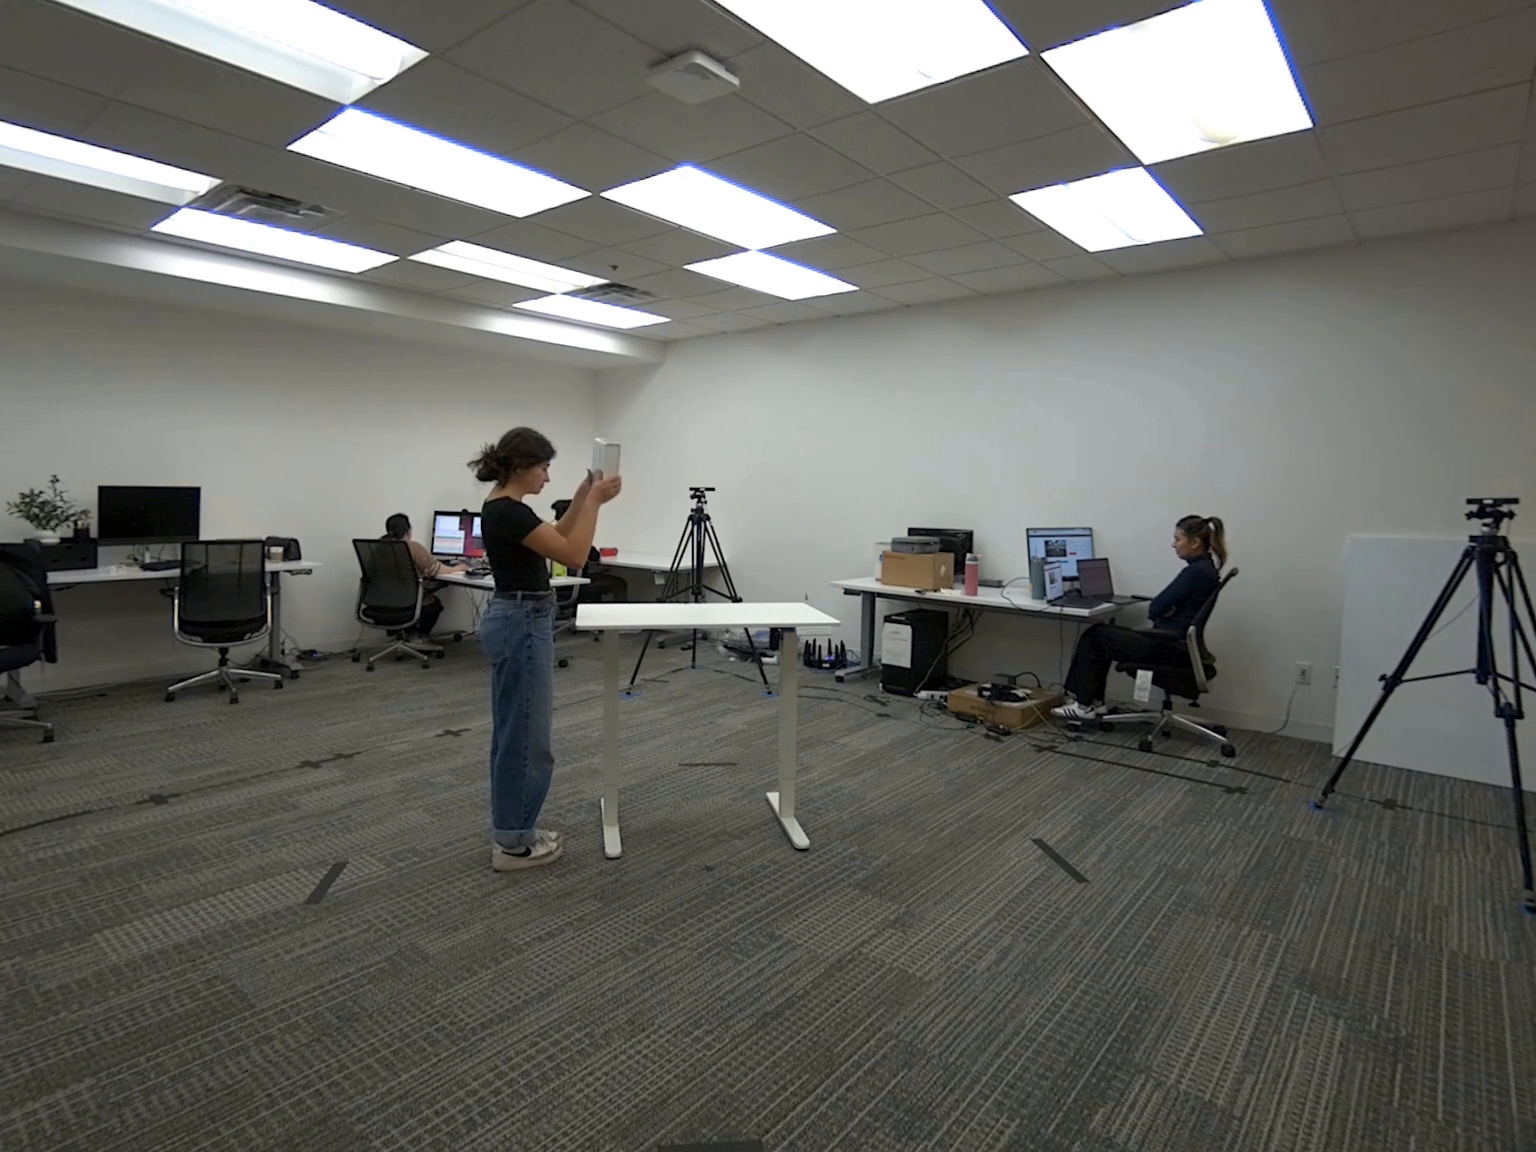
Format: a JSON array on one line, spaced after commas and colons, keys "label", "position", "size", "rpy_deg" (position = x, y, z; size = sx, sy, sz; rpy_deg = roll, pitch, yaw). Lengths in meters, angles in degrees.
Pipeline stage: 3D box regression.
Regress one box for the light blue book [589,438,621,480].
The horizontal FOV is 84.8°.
[{"label": "light blue book", "position": [-0.630, -0.401, 3.174], "size": [0.058, 0.190, 0.267], "rpy_deg": [3, 10, -17]}]
